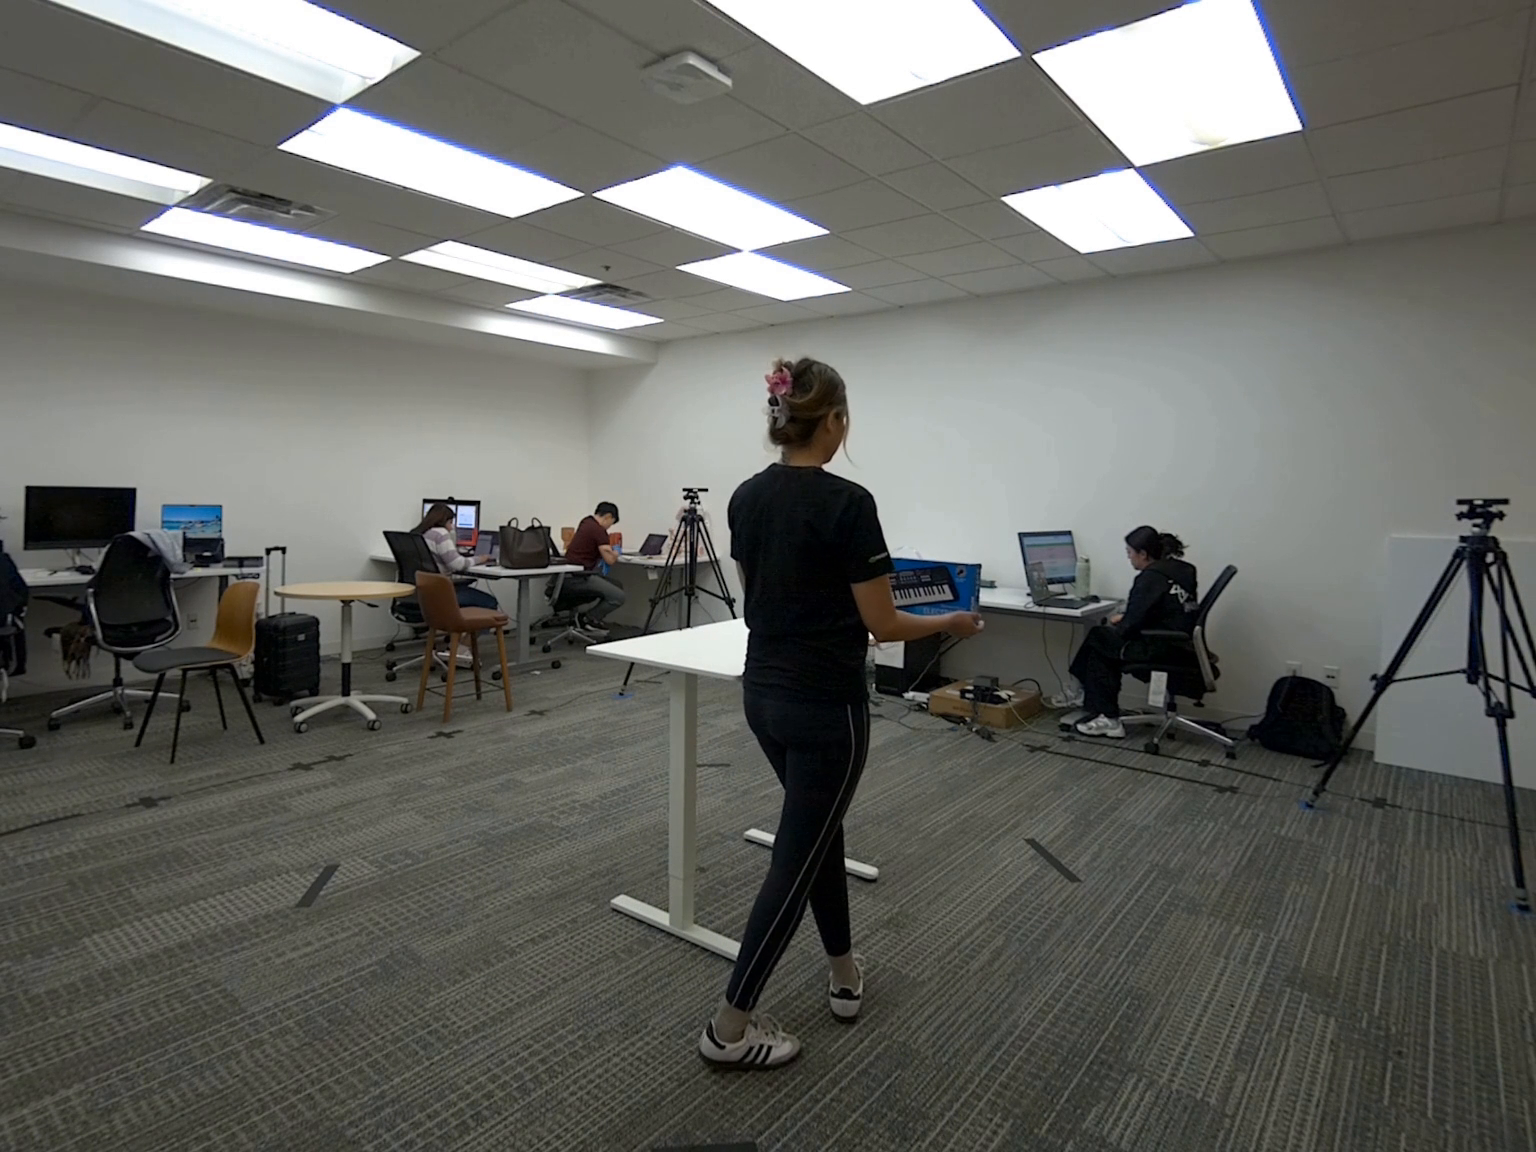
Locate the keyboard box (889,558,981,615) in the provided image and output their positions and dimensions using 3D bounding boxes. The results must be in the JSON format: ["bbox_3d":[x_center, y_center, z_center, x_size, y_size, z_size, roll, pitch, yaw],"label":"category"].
[{"bbox_3d":[0.368,0.036,2.368,0.452,0.176,0.057,6,1,44],"label":"keyboard box"}]
